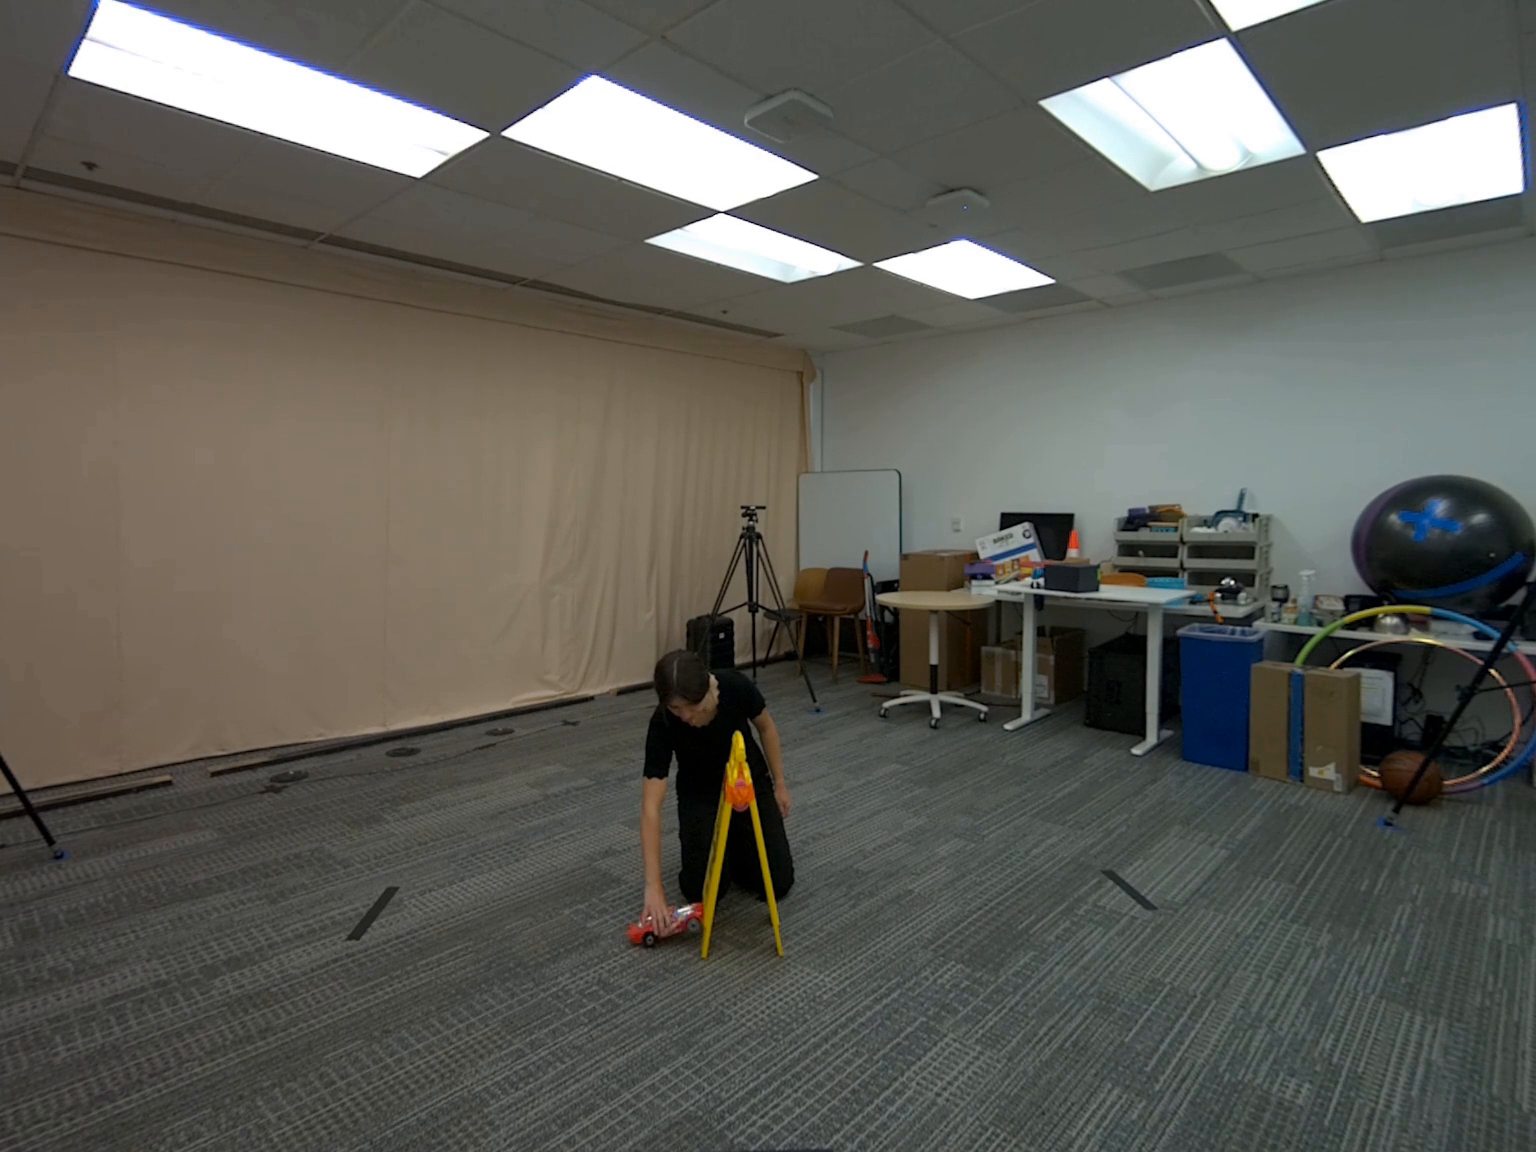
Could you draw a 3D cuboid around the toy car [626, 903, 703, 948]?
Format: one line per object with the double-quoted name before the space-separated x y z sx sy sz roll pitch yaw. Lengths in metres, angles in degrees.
"toy car" -0.329 1.123 2.705 0.255 0.083 0.130 -8 1 2
